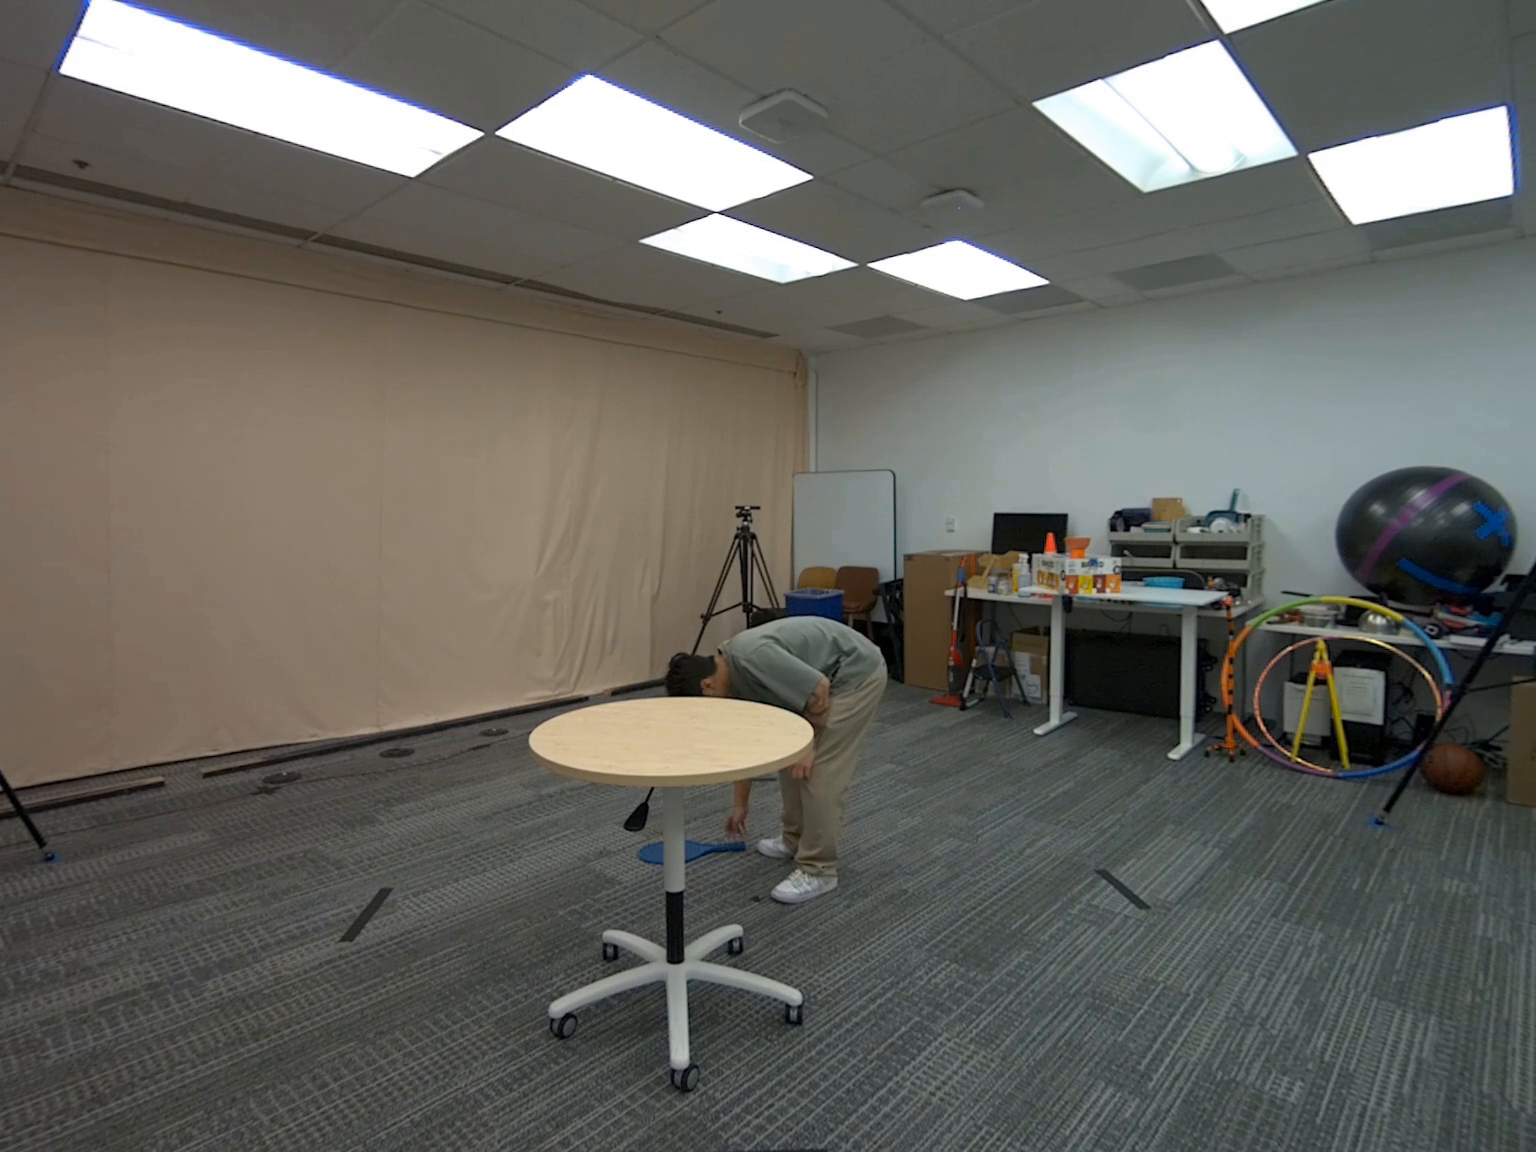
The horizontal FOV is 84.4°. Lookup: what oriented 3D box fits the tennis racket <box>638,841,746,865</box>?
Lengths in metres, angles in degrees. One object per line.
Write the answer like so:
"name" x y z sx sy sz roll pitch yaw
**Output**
"tennis racket" -0.307 1.105 3.392 0.429 0.032 0.216 -2 4 -8
